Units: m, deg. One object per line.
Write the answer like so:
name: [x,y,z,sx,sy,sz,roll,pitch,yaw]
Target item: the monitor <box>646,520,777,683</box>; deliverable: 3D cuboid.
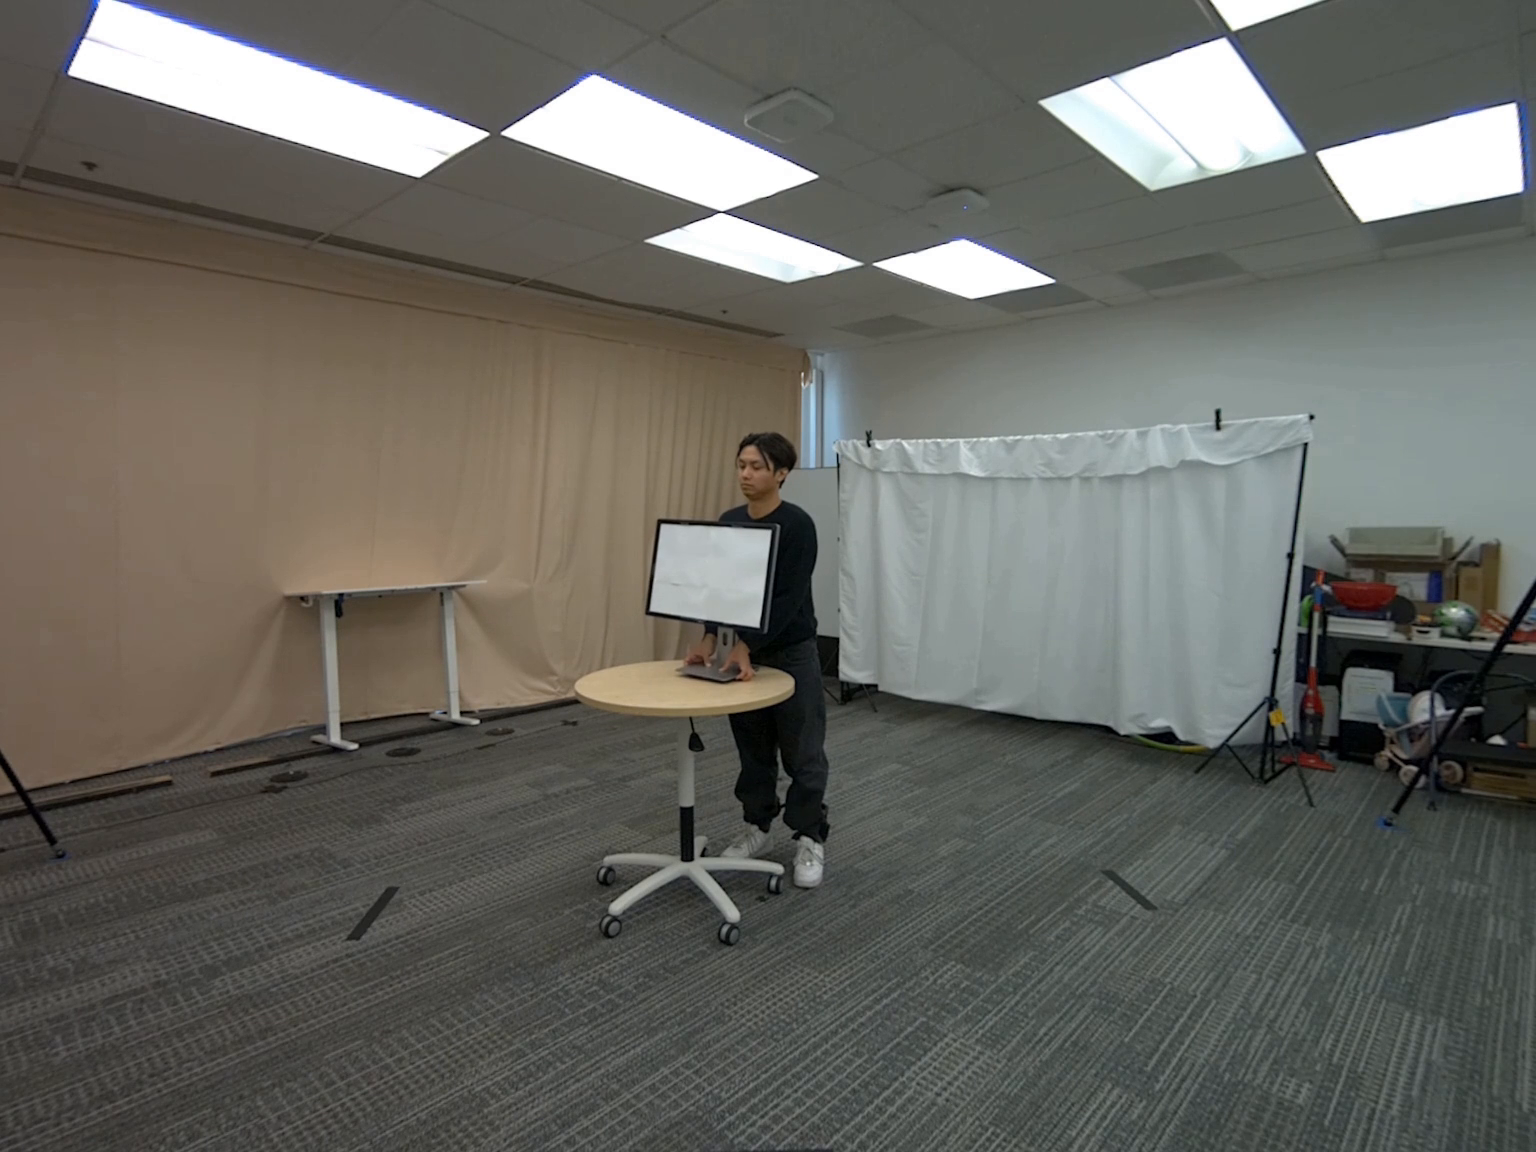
monitor: [-0.184,0.079,3.003,0.557,0.520,0.182,4,8,38]
